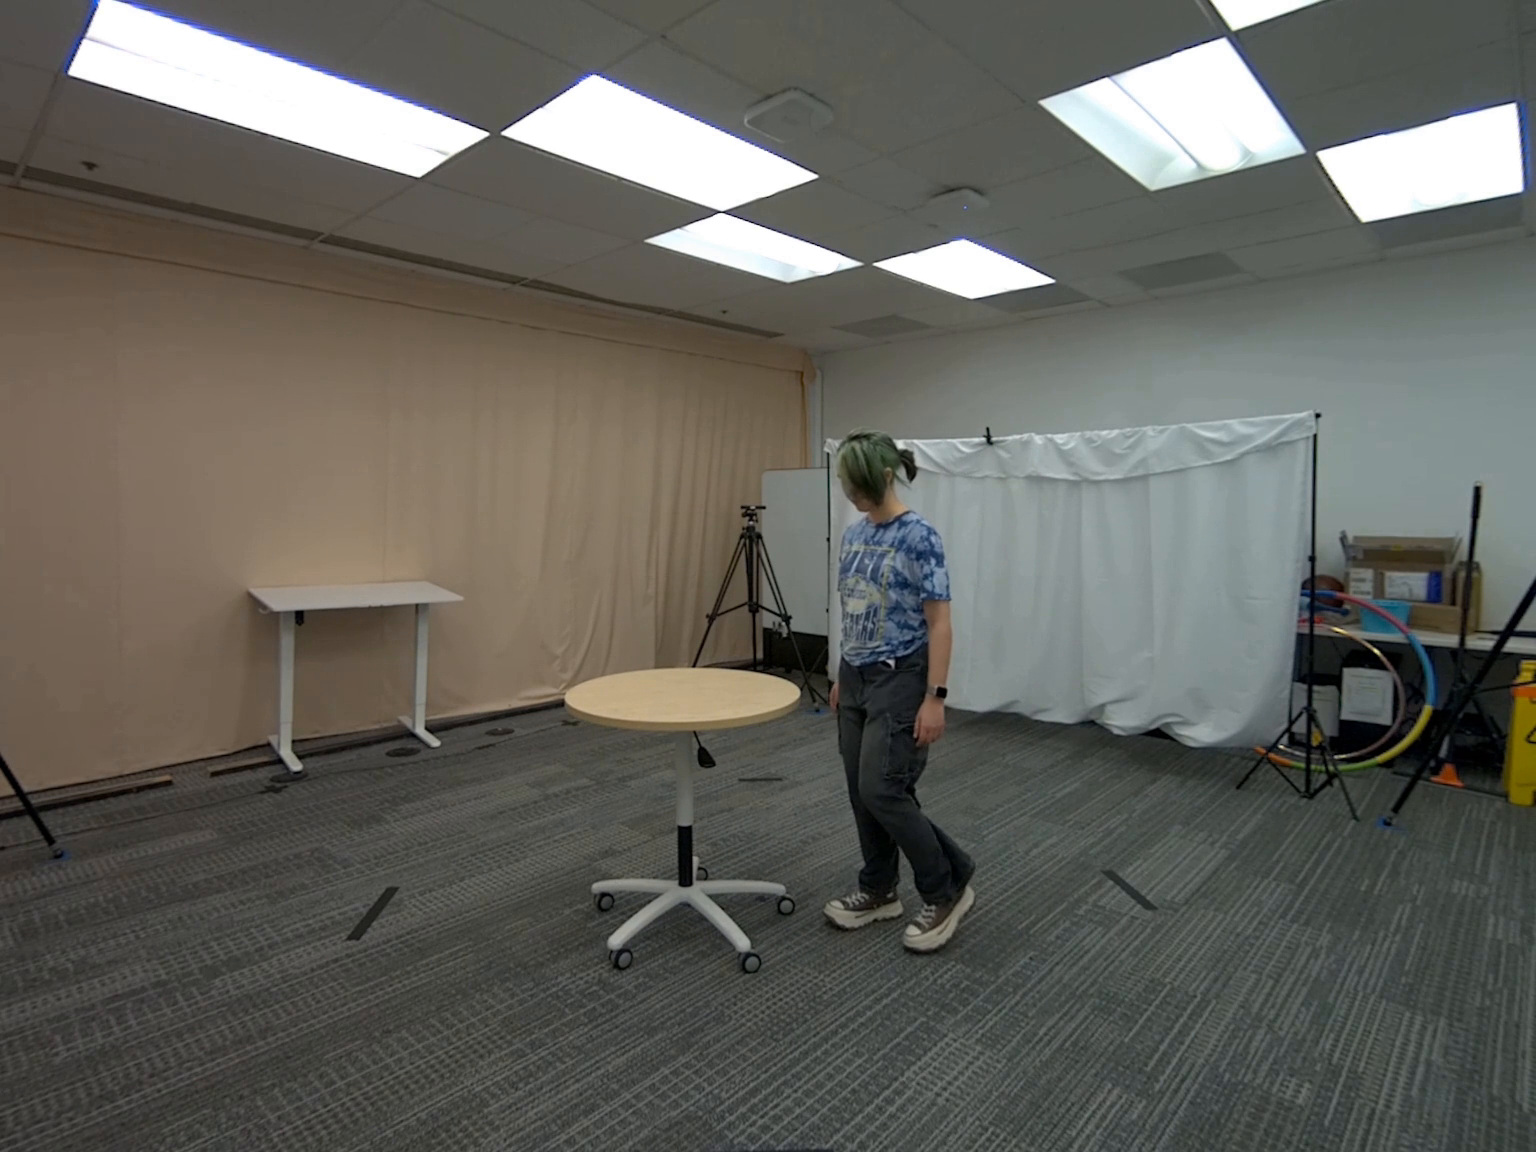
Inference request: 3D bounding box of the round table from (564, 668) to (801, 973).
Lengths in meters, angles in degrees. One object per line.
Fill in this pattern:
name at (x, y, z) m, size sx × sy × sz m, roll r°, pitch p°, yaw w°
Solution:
round table at (-0.273, 0.778, 2.778) m, size 0.763 × 0.792 × 0.766 m, roll 0°, pitch 4°, yaw -2°
